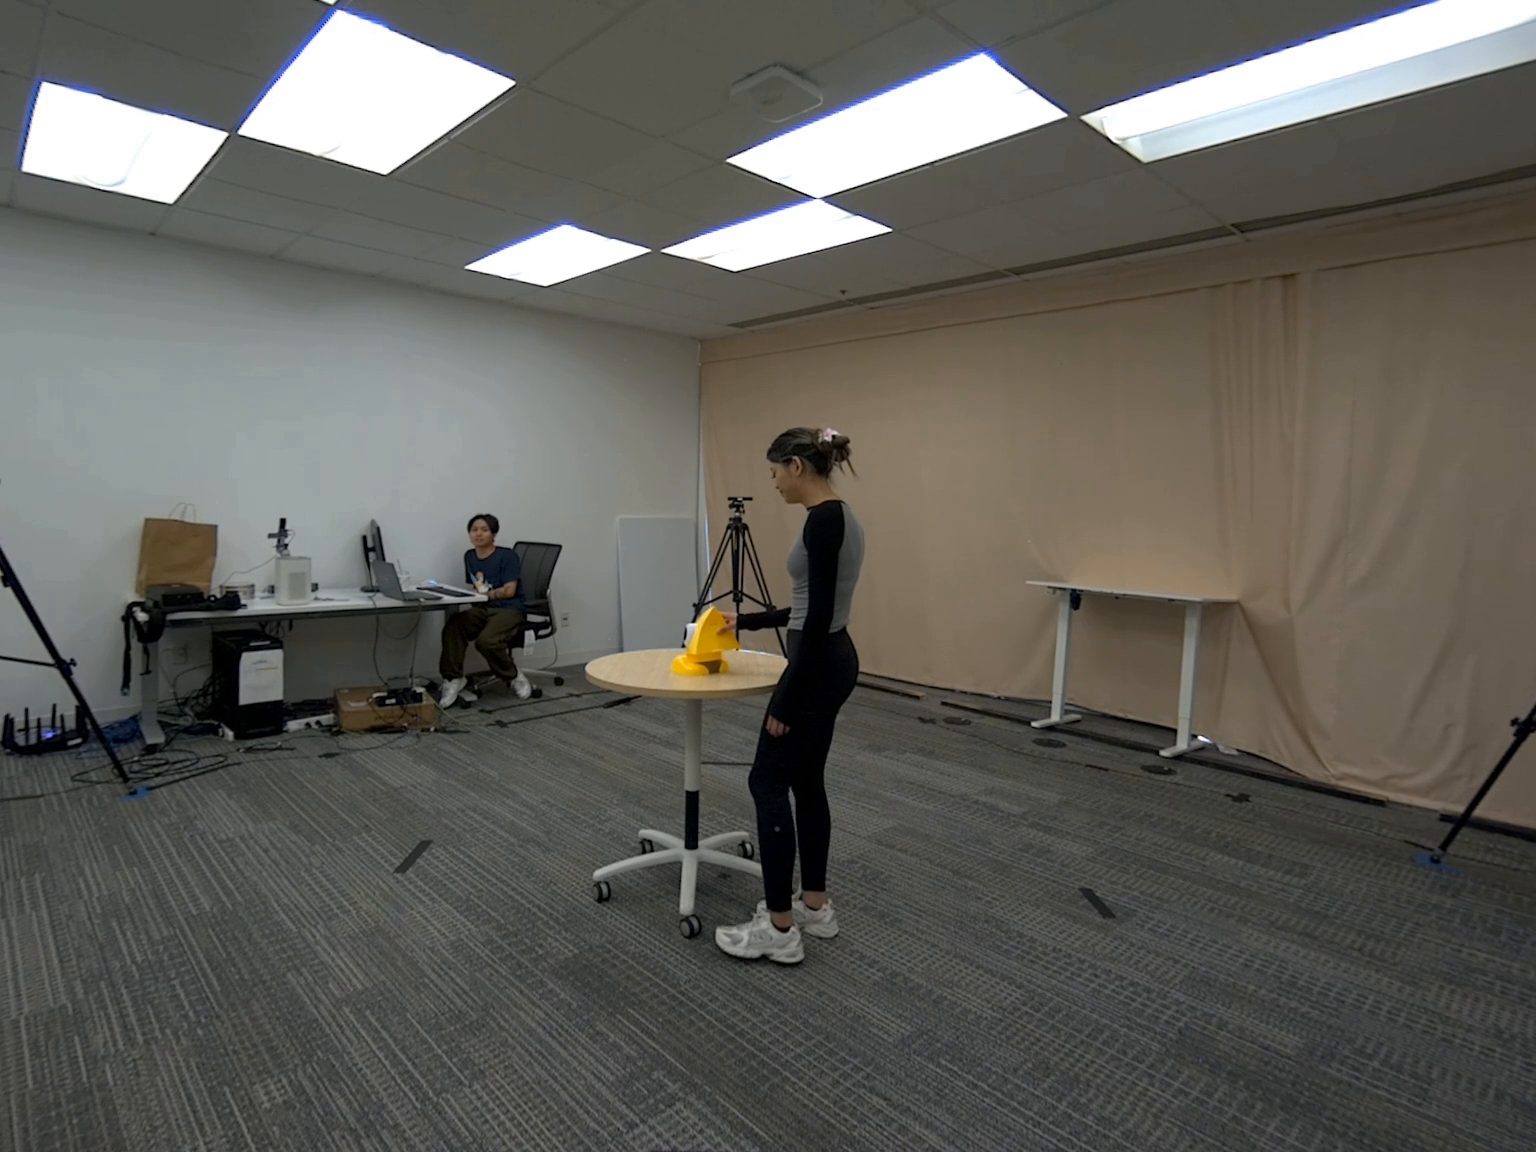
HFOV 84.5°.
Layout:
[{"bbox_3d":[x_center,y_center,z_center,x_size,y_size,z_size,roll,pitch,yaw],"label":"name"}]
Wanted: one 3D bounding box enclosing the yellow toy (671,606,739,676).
[{"bbox_3d":[-0.235,0.215,2.916,0.200,0.230,0.198,-2,5,-42],"label":"yellow toy"}]
